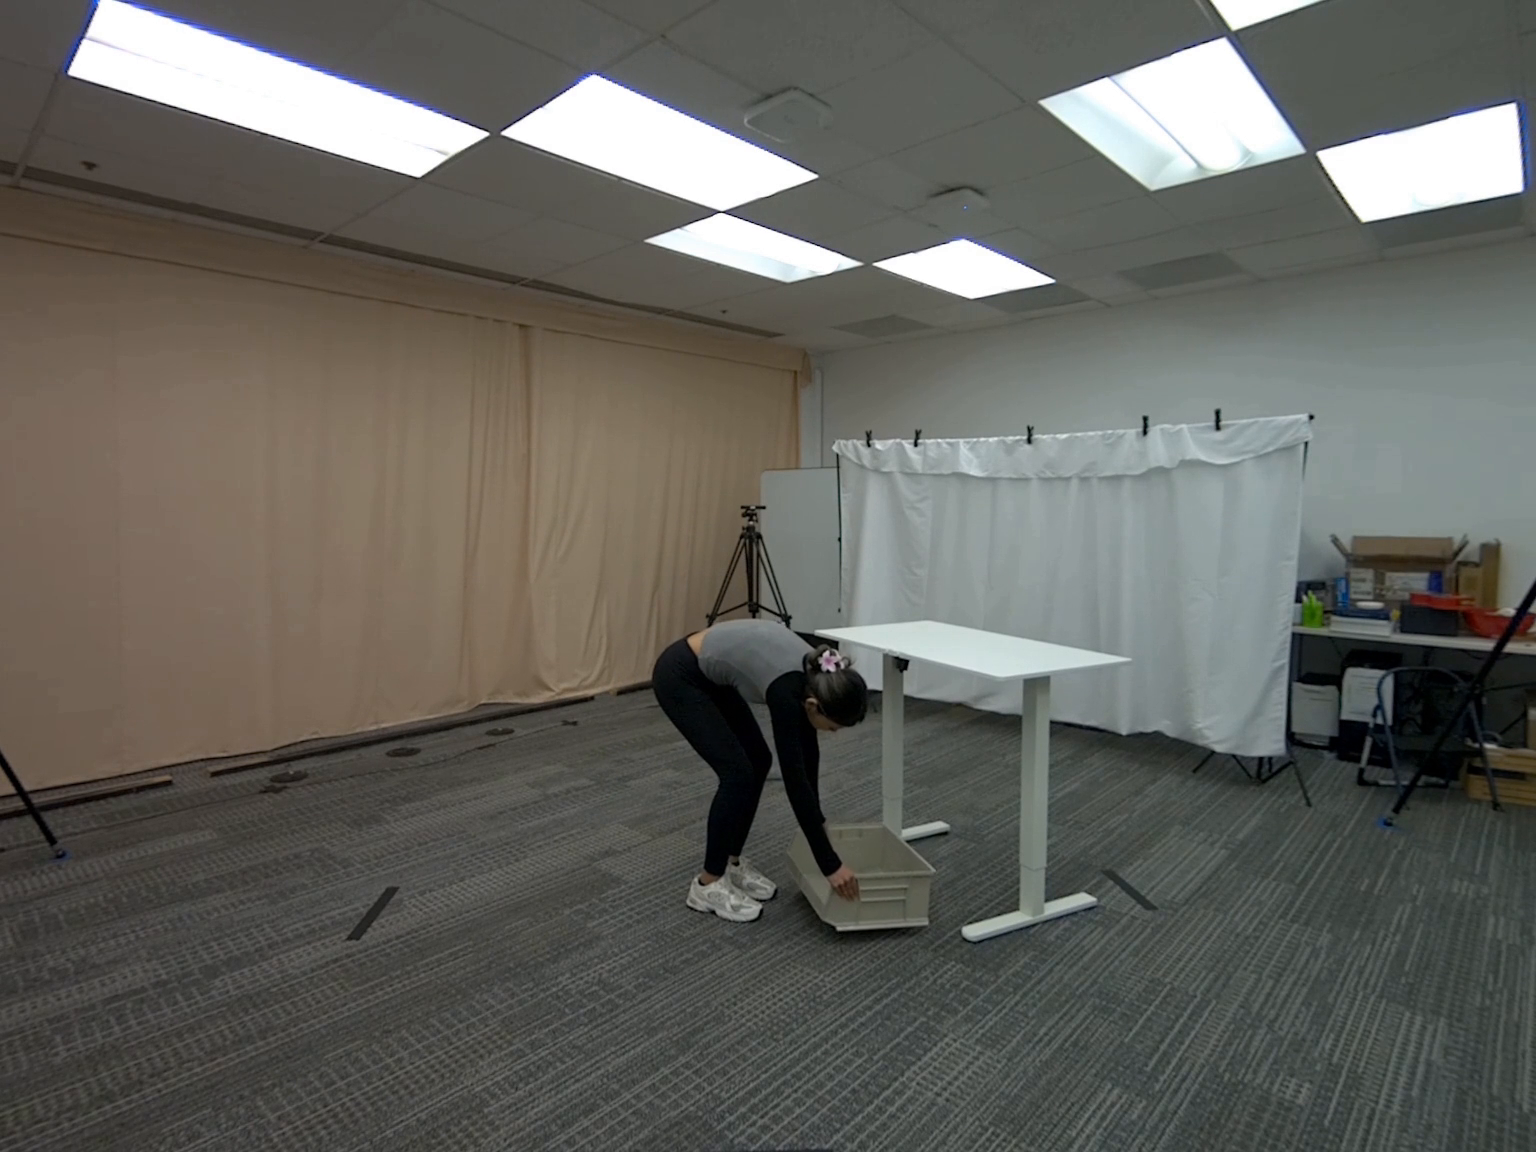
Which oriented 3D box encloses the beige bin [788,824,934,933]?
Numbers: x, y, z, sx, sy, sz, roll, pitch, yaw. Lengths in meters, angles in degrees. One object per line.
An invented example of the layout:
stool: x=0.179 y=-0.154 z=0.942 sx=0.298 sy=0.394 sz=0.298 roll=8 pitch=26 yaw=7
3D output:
beige bin: x=0.306 y=1.014 z=2.871 sx=0.372 sy=0.189 sz=0.429 roll=1 pitch=3 yaw=-13
